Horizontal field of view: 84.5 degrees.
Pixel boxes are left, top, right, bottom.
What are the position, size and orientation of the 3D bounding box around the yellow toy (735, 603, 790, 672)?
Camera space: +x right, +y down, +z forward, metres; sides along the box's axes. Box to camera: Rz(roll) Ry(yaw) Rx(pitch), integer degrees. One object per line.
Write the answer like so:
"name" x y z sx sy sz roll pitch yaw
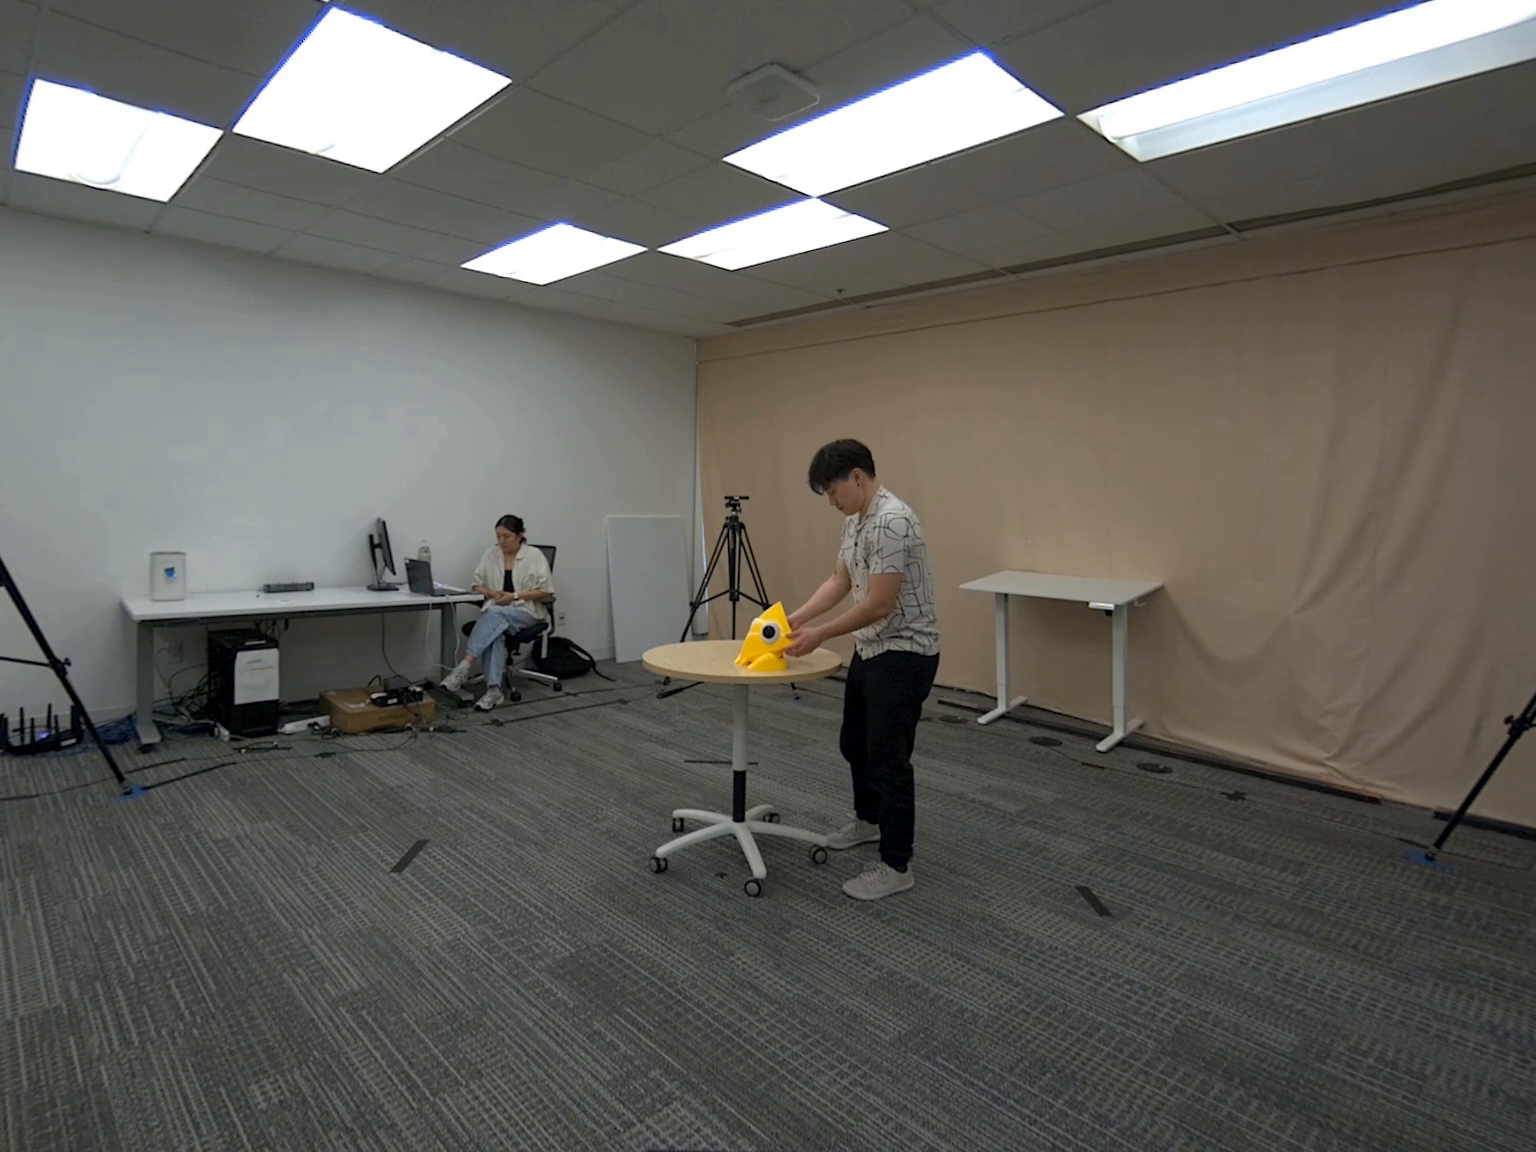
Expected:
"yellow toy" -0.017 0.212 3.054 0.190 0.230 0.209 -1 5 -23
